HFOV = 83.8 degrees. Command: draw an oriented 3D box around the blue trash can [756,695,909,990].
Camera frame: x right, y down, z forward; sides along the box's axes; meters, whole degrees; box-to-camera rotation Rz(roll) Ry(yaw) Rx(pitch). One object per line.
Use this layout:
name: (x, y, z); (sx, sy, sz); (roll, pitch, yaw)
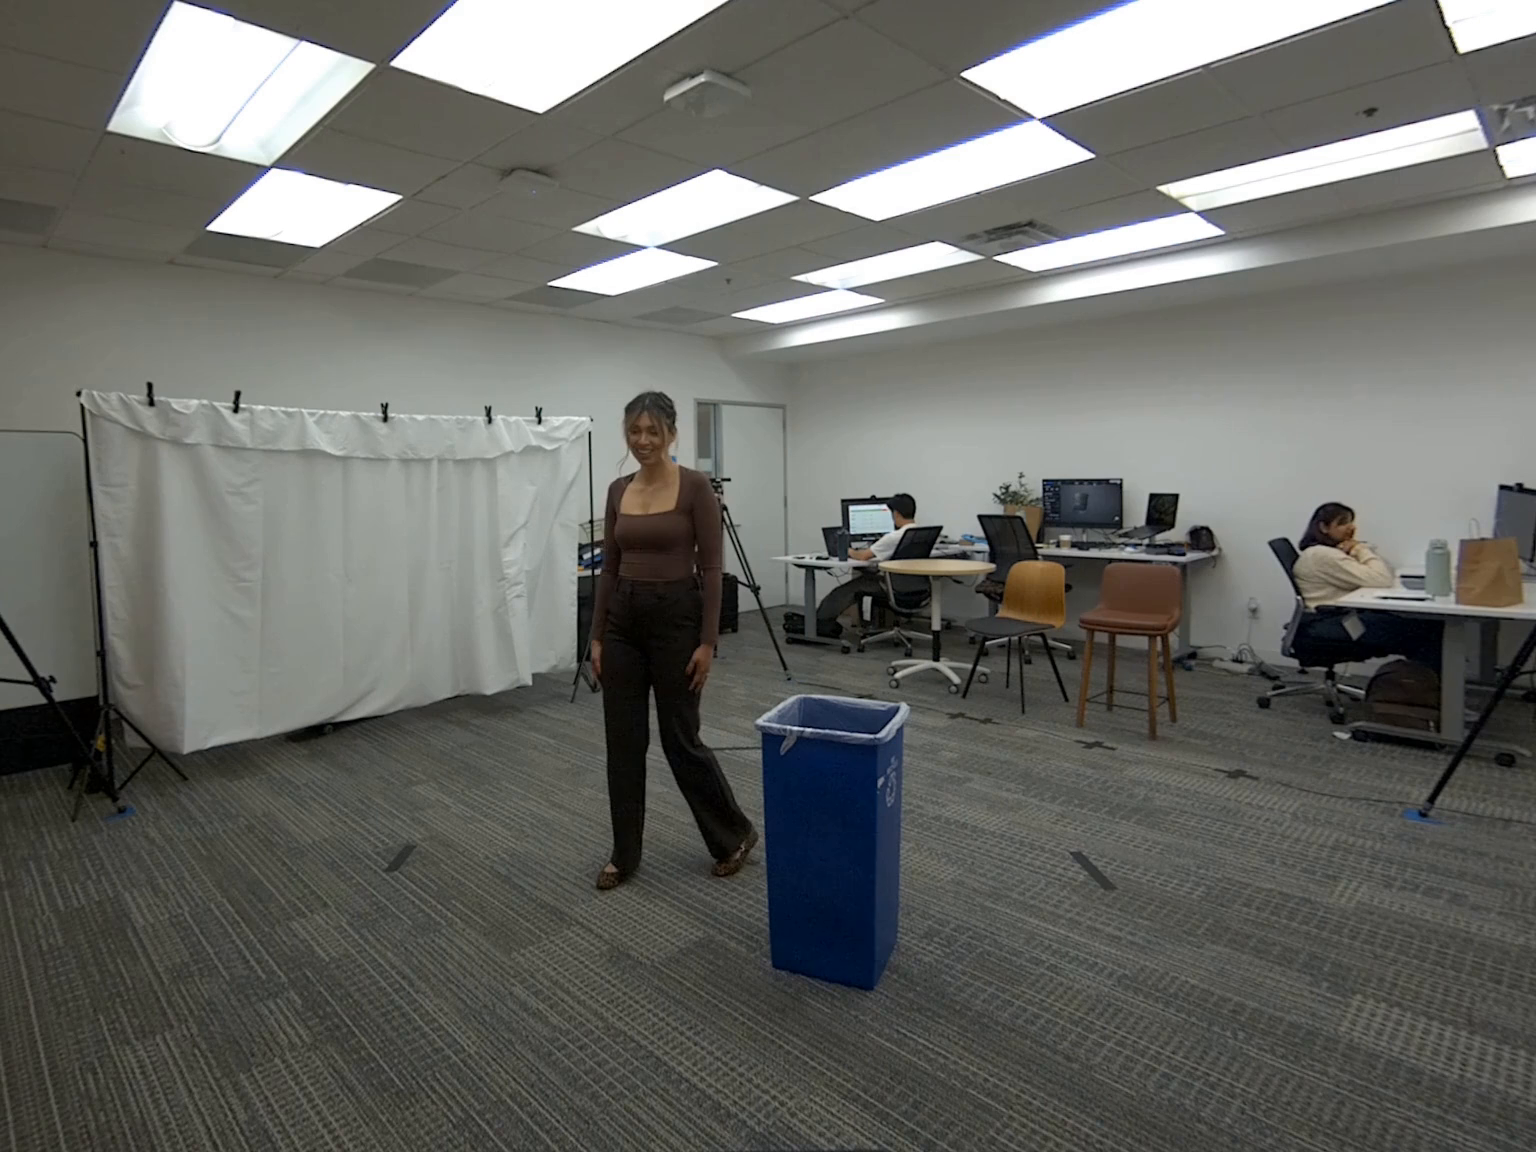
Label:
blue trash can: (0.202, 0.751, 2.497); (0.386, 0.711, 0.367); (1, 5, 24)
